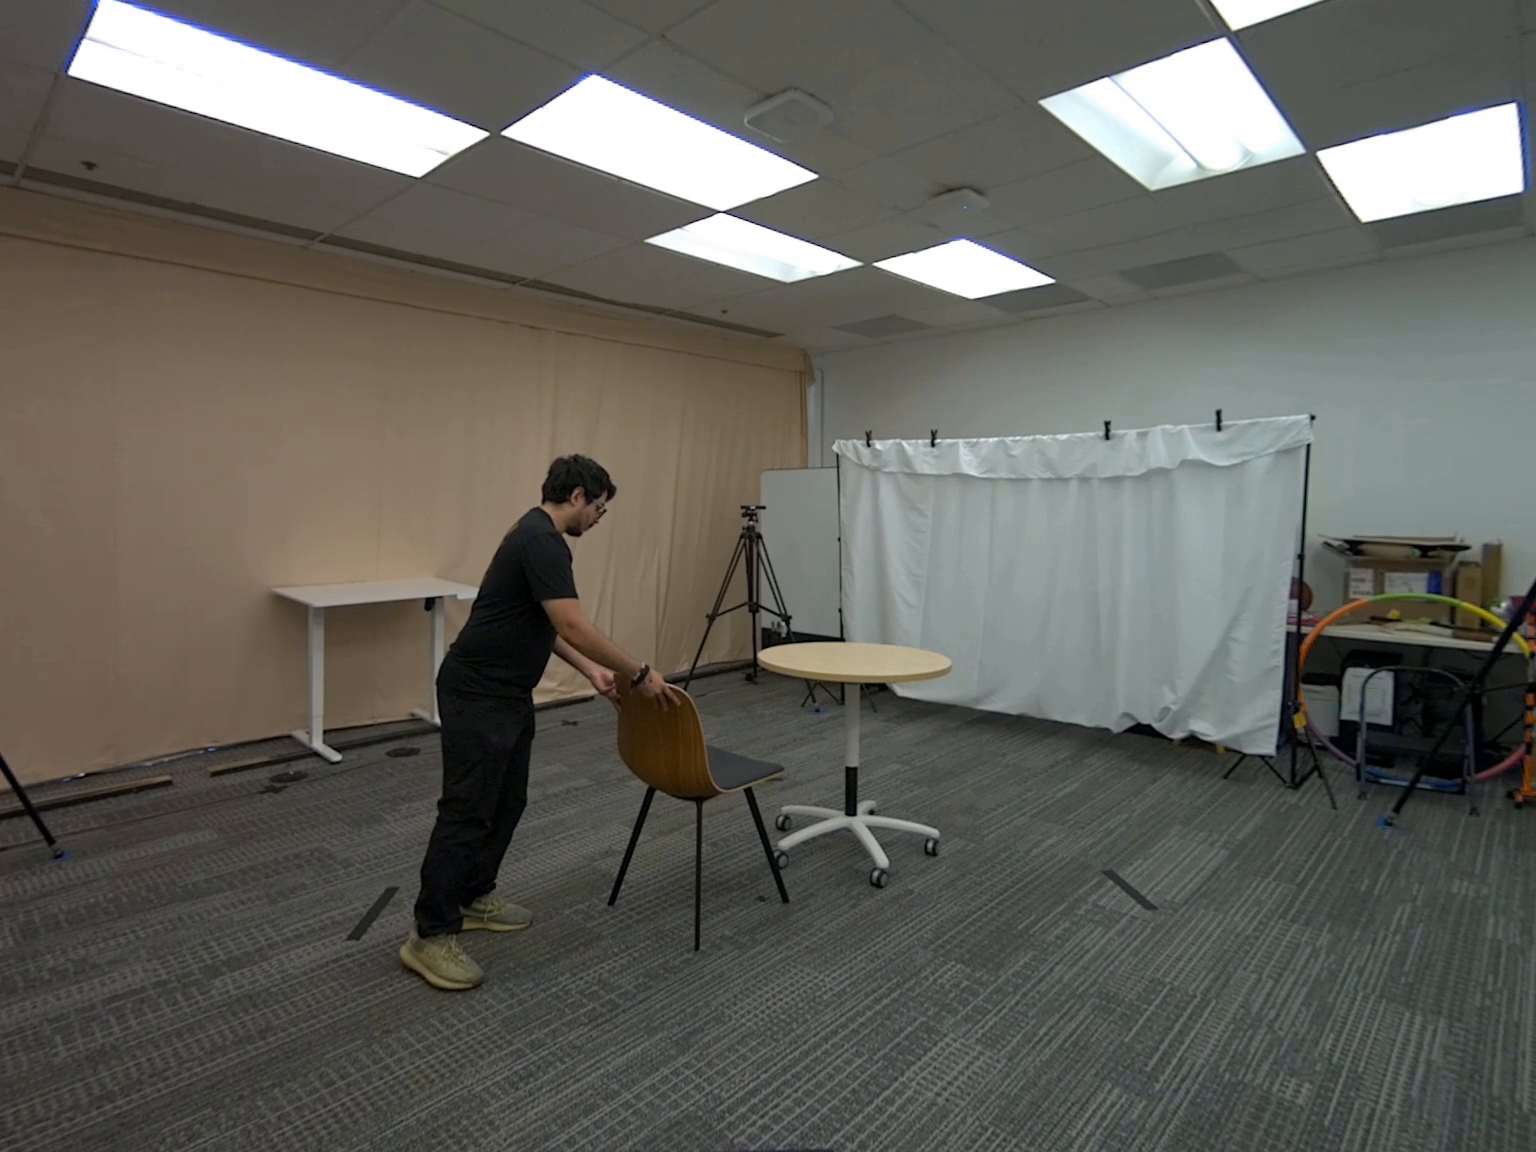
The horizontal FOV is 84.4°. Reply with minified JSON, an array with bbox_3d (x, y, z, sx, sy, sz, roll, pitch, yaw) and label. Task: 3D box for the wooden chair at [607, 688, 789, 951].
[{"bbox_3d":[-0.234,0.724,2.919,0.494,0.873,0.508,3,9,42],"label":"wooden chair"}]
